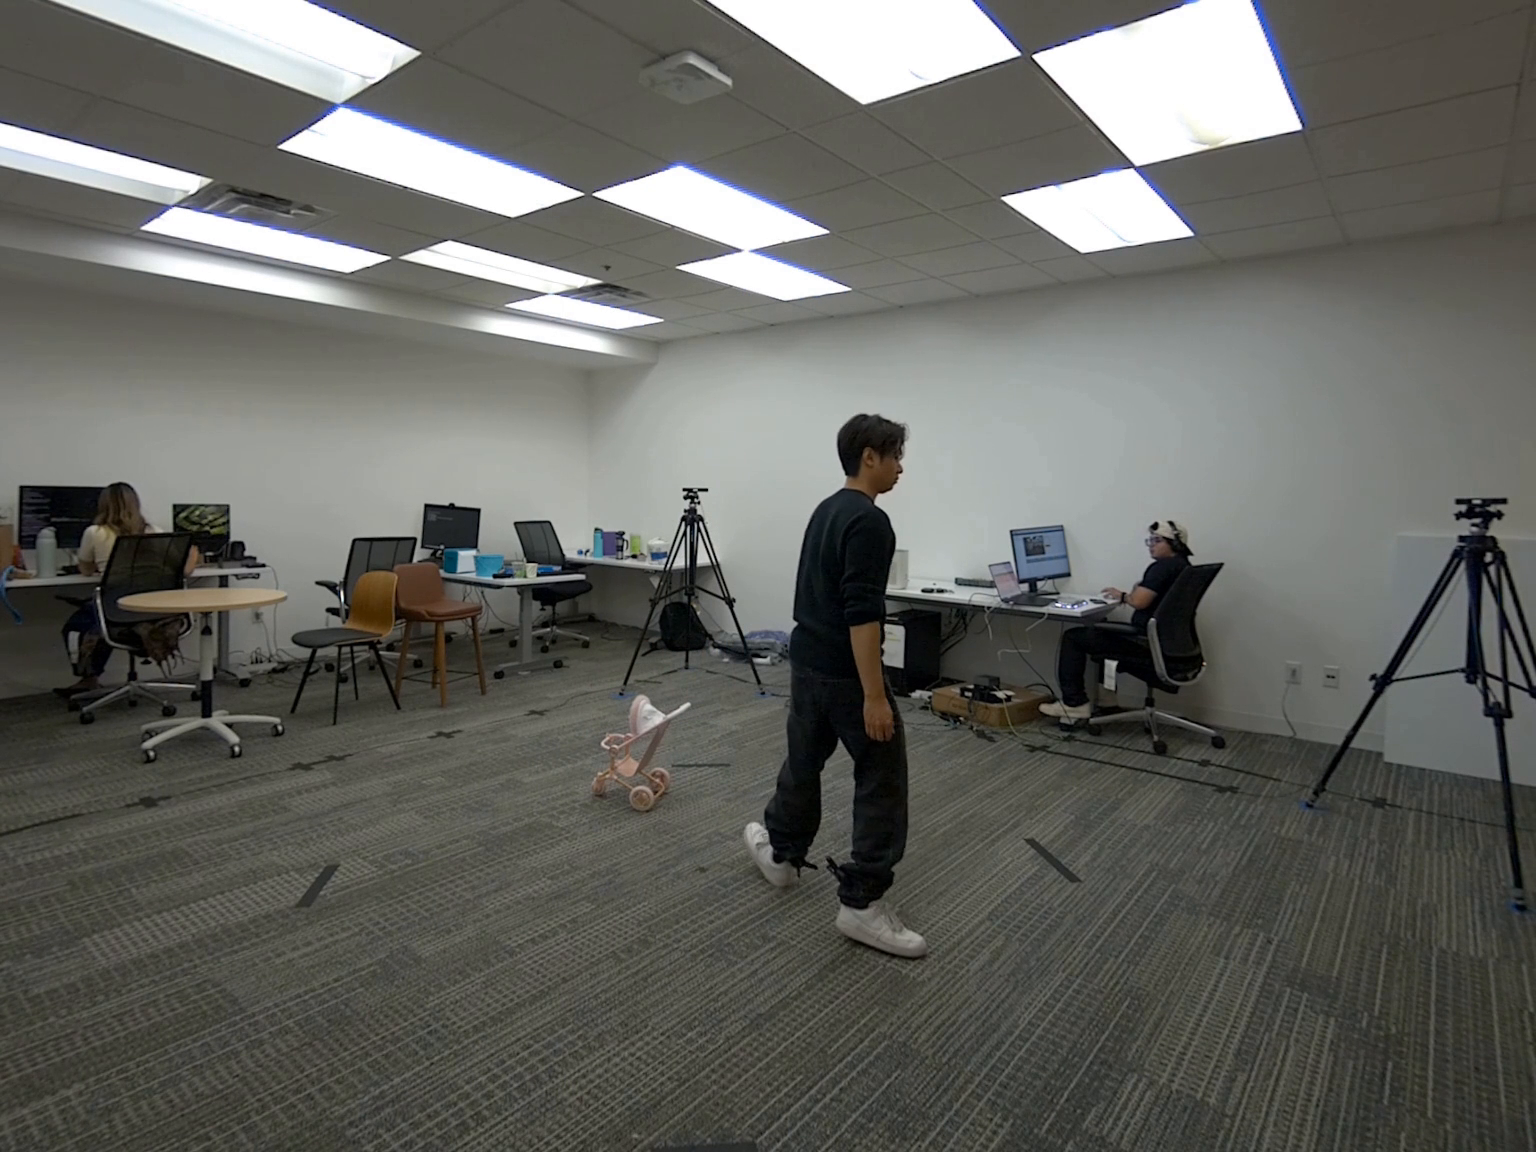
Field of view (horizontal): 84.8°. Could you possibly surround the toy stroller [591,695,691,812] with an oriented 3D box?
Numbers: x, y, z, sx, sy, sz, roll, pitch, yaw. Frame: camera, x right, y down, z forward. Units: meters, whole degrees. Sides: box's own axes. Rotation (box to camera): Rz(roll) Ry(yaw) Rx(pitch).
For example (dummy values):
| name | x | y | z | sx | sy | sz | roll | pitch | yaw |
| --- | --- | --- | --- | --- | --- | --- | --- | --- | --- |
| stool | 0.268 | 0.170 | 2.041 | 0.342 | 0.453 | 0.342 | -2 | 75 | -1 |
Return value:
| name | x | y | z | sx | sy | sz | roll | pitch | yaw |
| --- | --- | --- | --- | --- | --- | --- | --- | --- | --- |
| toy stroller | -0.596 | 0.771 | 3.795 | 0.349 | 0.532 | 0.277 | 17 | 7 | 16 |
